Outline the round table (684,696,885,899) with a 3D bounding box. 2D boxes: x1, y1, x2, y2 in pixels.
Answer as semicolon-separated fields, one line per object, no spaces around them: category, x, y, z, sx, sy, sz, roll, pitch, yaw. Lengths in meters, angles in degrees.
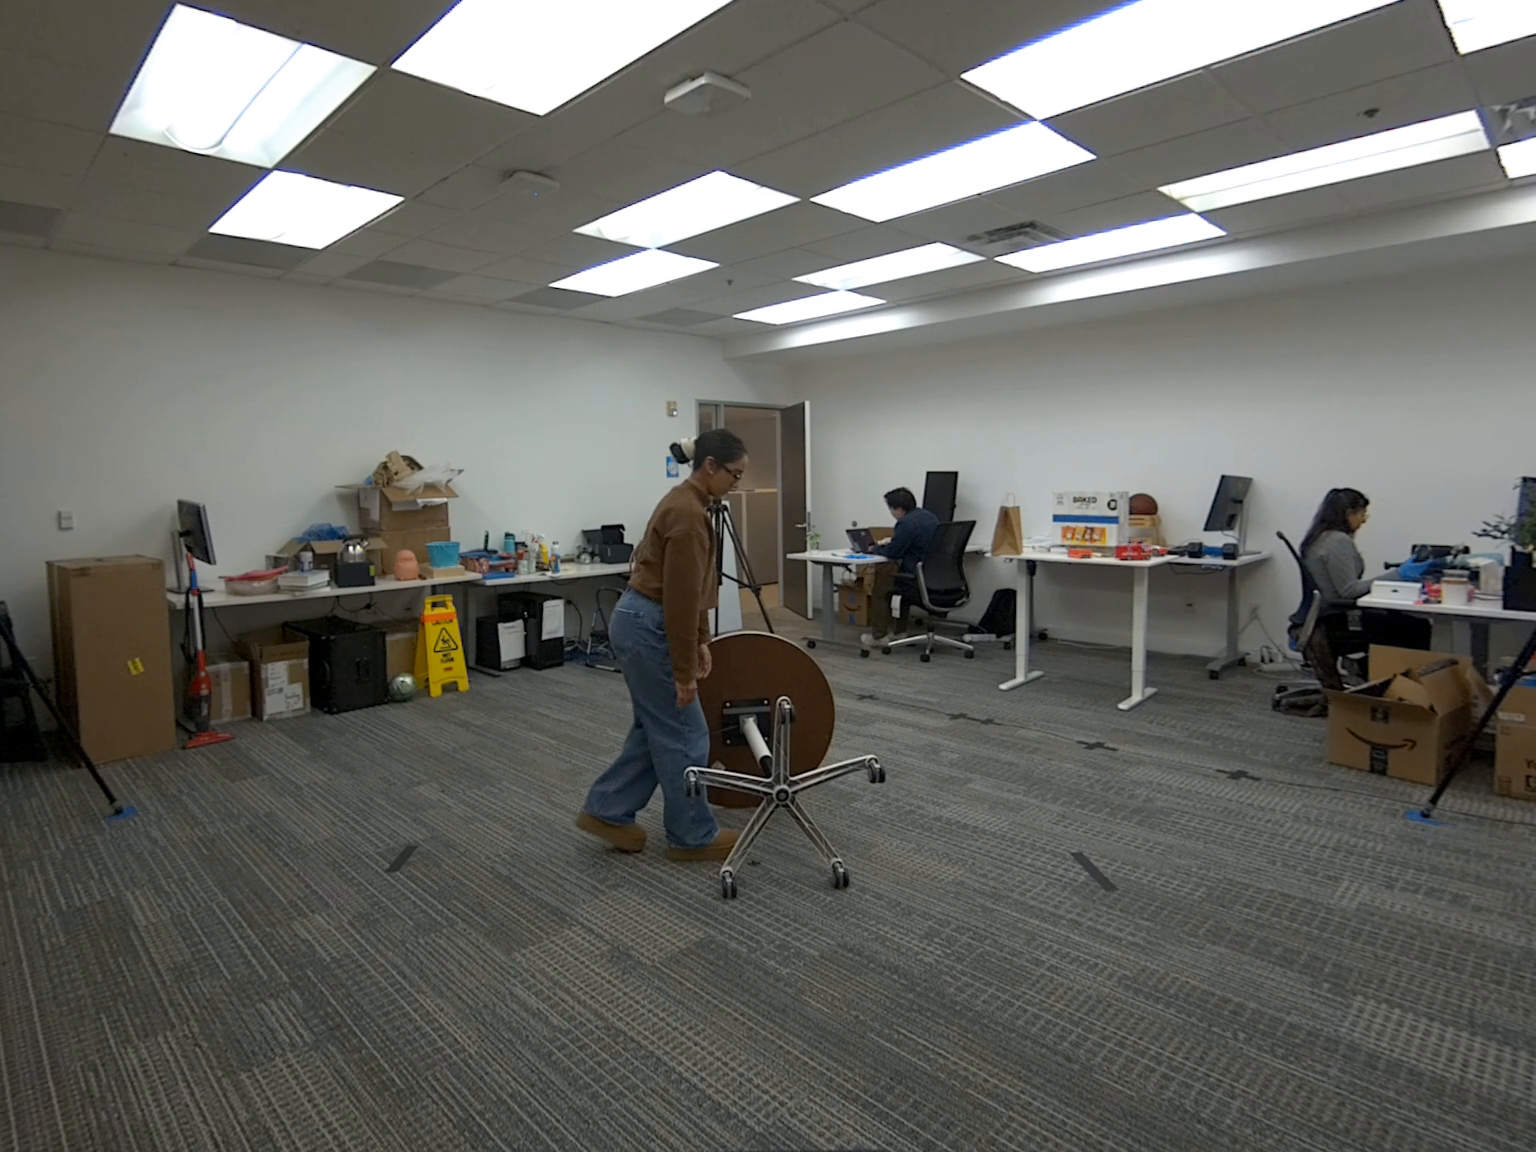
round table;-0.017;0.695;3.208;0.757;0.757;0.808;-2;10;-10
